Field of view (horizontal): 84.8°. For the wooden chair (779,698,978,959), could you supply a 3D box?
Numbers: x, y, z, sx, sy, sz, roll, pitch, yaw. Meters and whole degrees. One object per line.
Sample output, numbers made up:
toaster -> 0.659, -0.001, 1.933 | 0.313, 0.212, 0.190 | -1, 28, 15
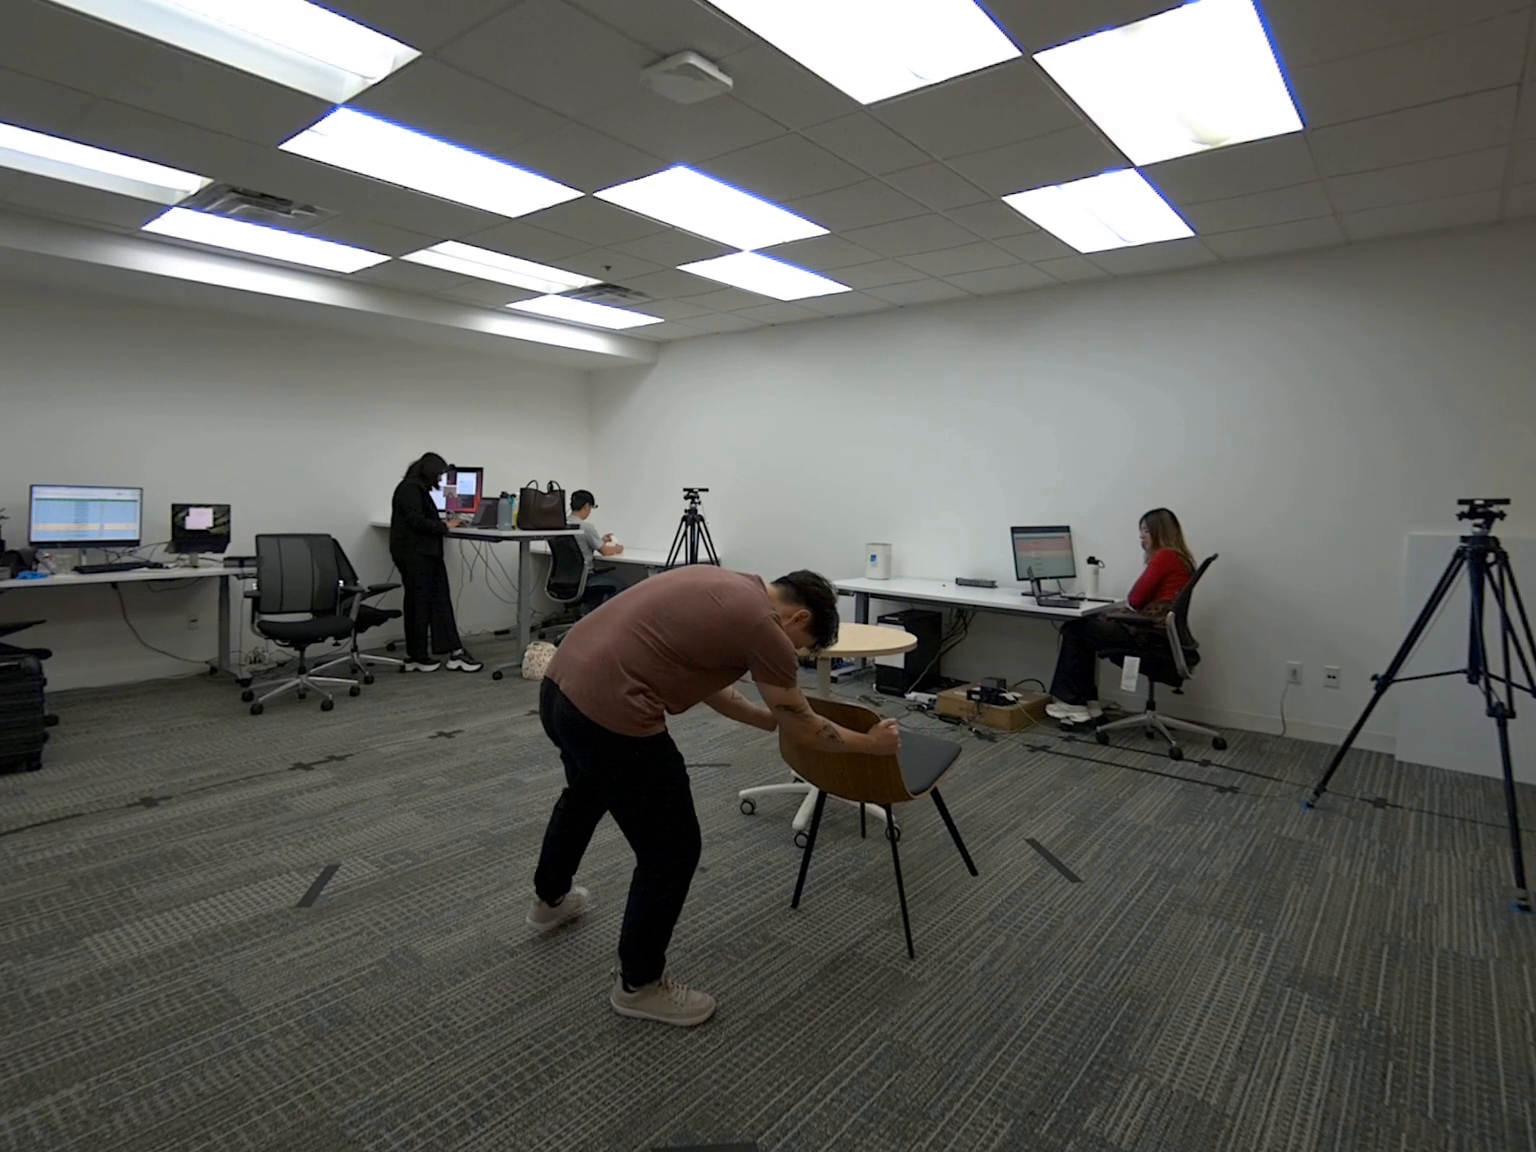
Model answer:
wooden chair -> 0.334, 0.644, 2.751 | 0.494, 0.861, 0.515 | 5, 23, 40
